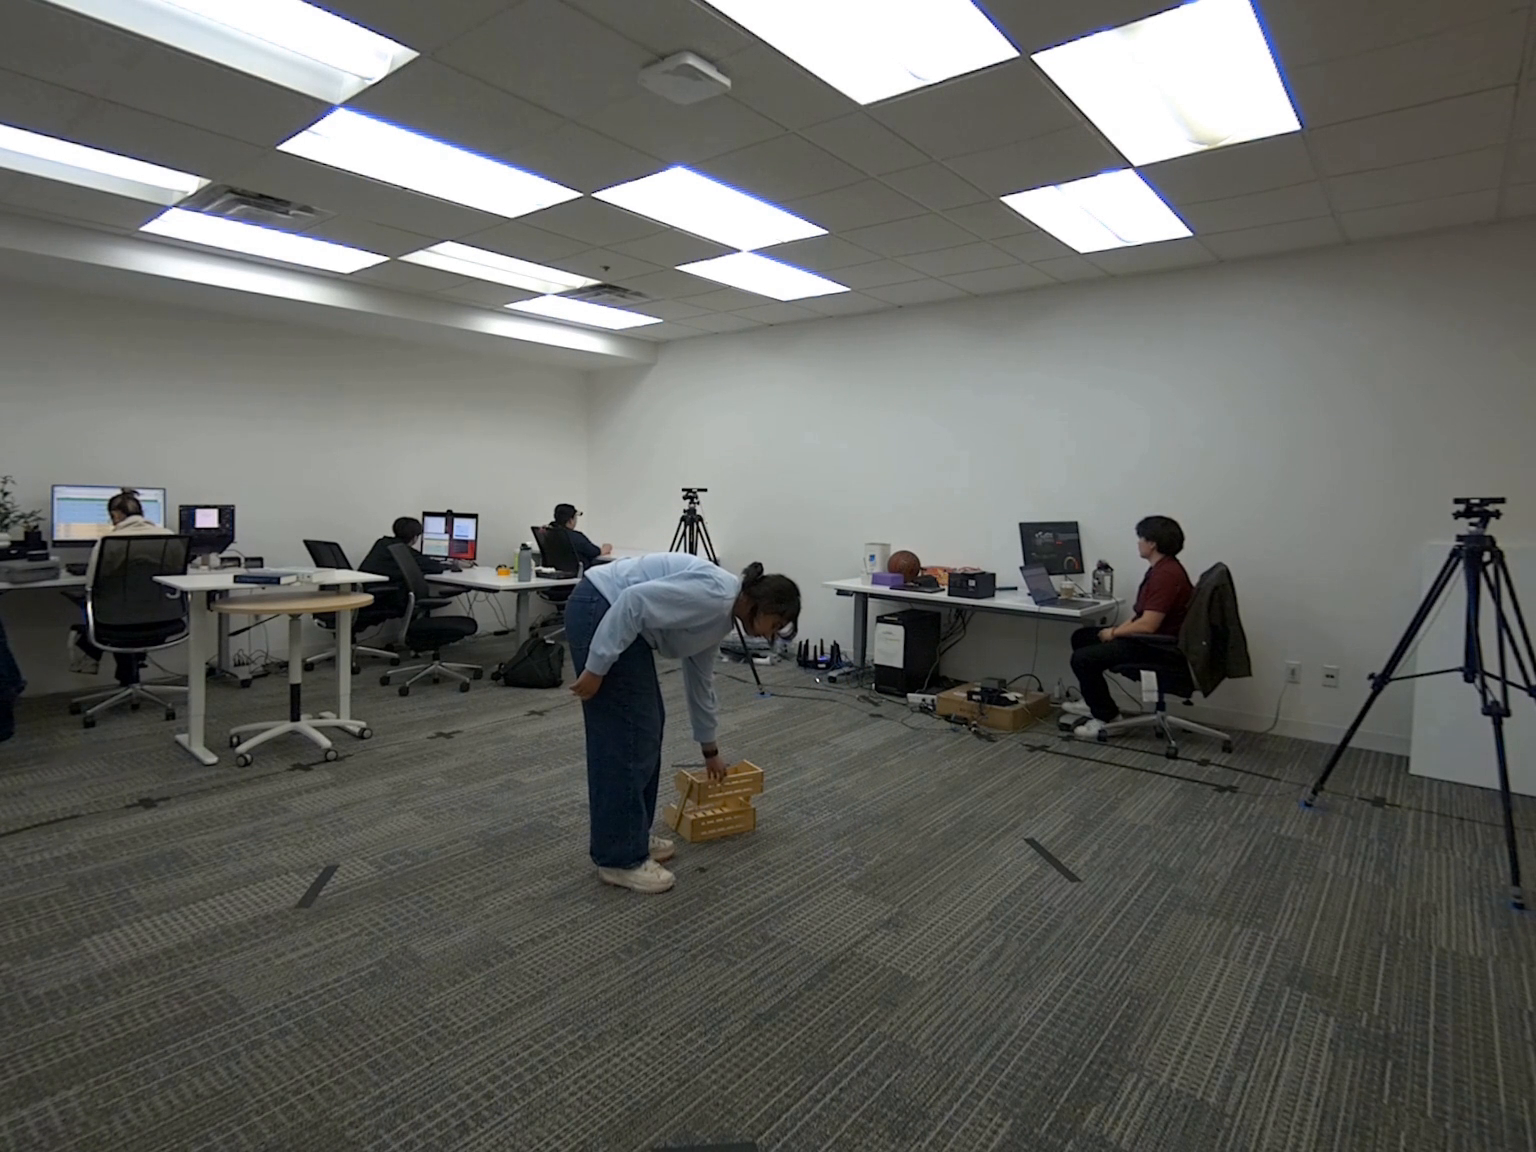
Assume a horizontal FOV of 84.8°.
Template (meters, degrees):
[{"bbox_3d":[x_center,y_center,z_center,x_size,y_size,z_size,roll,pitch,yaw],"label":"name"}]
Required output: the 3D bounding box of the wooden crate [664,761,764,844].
[{"bbox_3d":[-0.240,0.896,3.499,0.316,0.272,0.312,-2,6,-32],"label":"wooden crate"}]
